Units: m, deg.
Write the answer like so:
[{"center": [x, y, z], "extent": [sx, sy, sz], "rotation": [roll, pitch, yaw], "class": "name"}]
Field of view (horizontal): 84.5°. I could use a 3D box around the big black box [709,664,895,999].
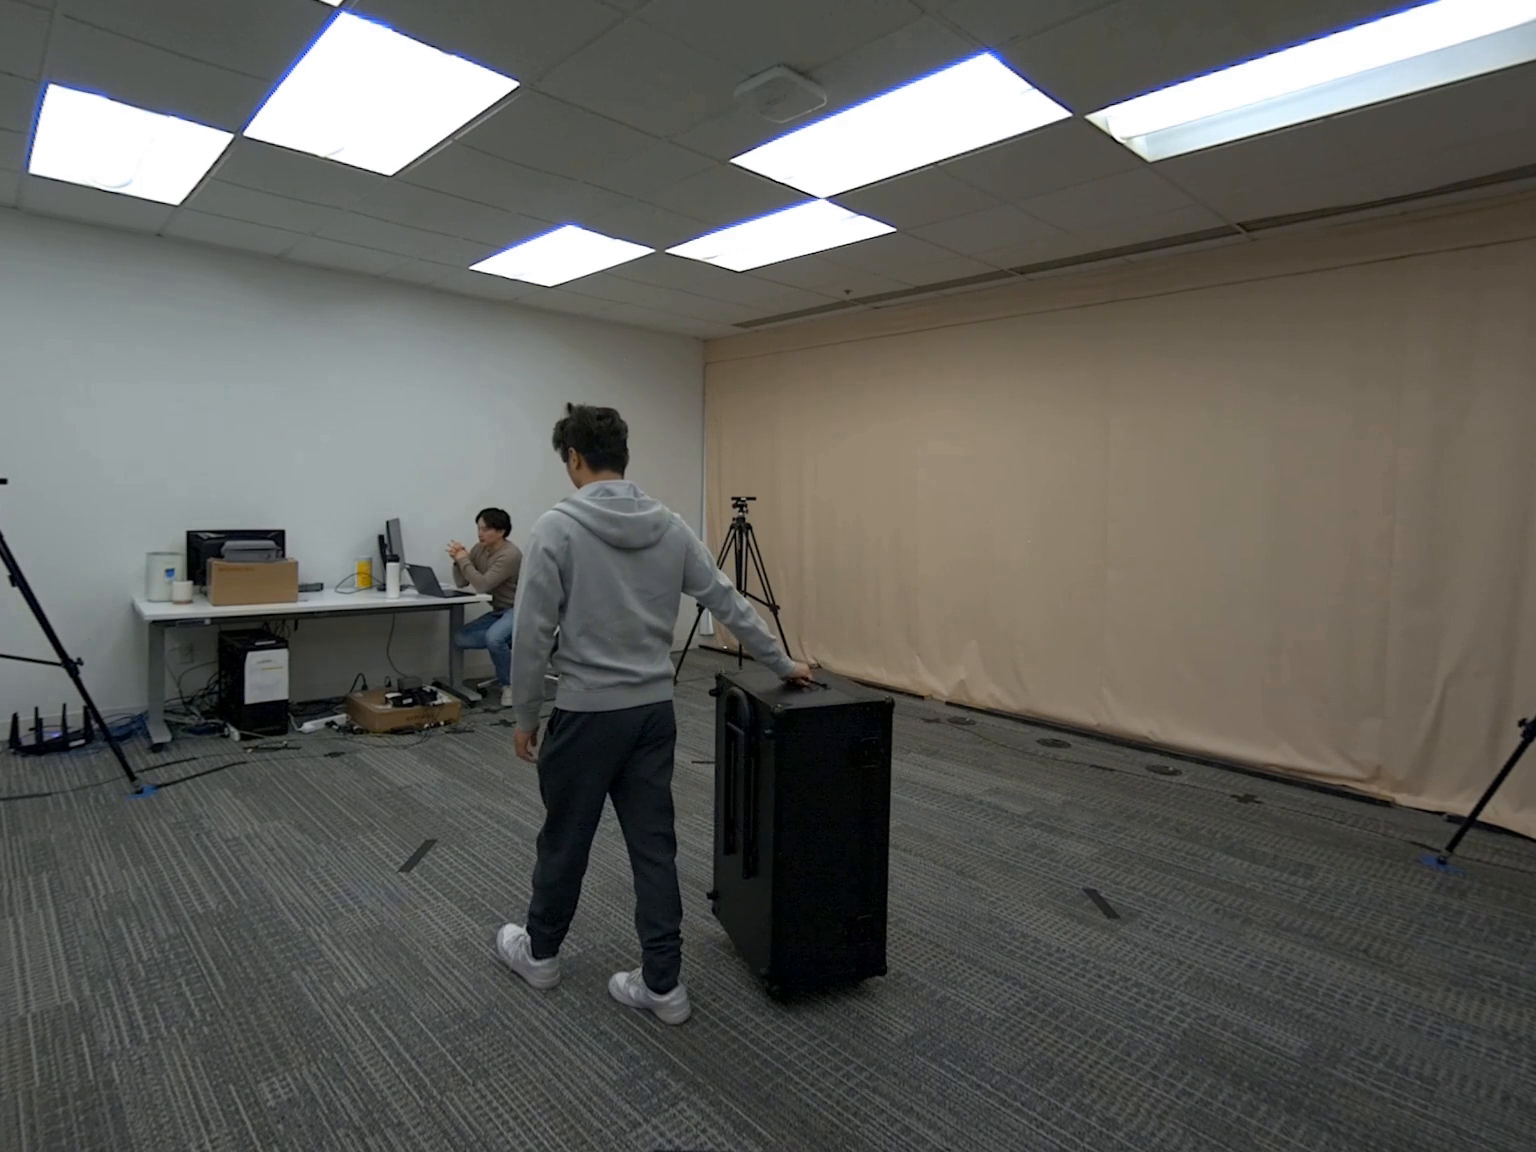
[{"center": [0.070, 0.743, 2.483], "extent": [0.390, 0.858, 0.531], "rotation": [-2, 5, -21], "class": "big black box"}]
